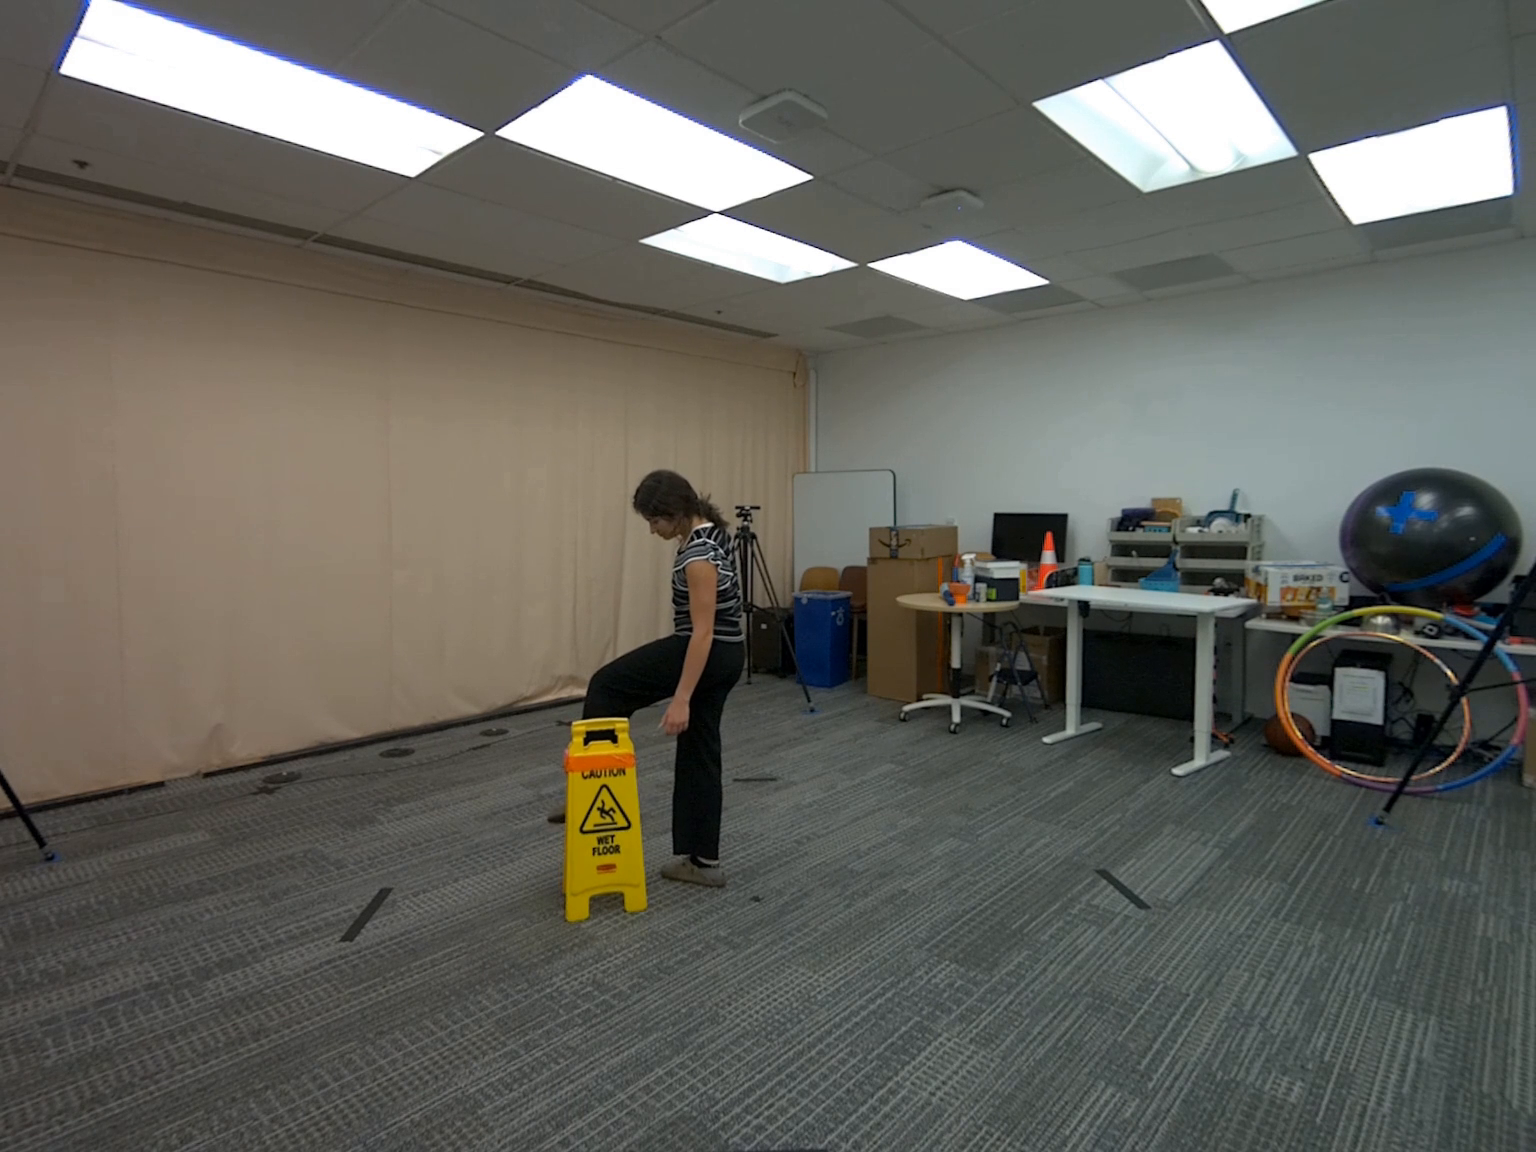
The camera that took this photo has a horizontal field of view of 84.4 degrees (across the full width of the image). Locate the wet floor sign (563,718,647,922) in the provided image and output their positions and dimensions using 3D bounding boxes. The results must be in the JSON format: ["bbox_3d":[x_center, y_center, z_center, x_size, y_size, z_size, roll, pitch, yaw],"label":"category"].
[{"bbox_3d":[-0.580,0.823,2.944,0.278,0.643,0.295,-1,6,-15],"label":"wet floor sign"}]
